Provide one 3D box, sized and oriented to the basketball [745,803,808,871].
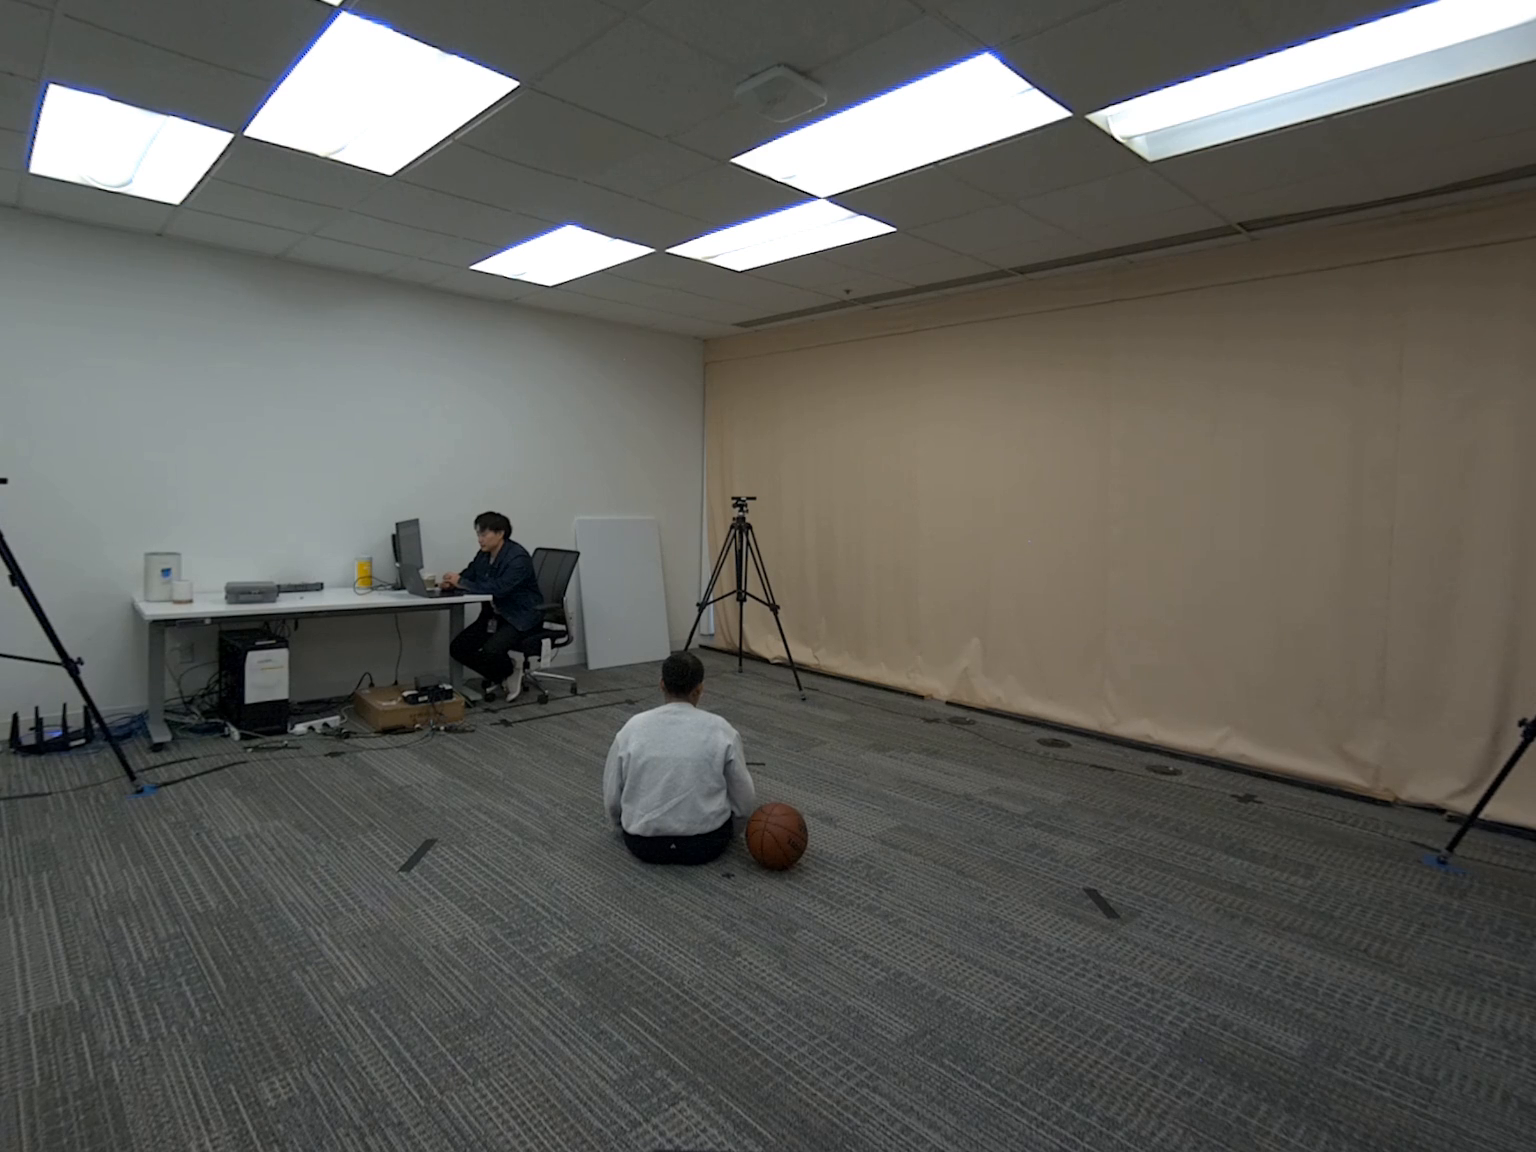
[{"bbox_3d":[0.026,0.979,3.189,0.236,0.235,0.237,1,4,-1],"label":"basketball"}]
